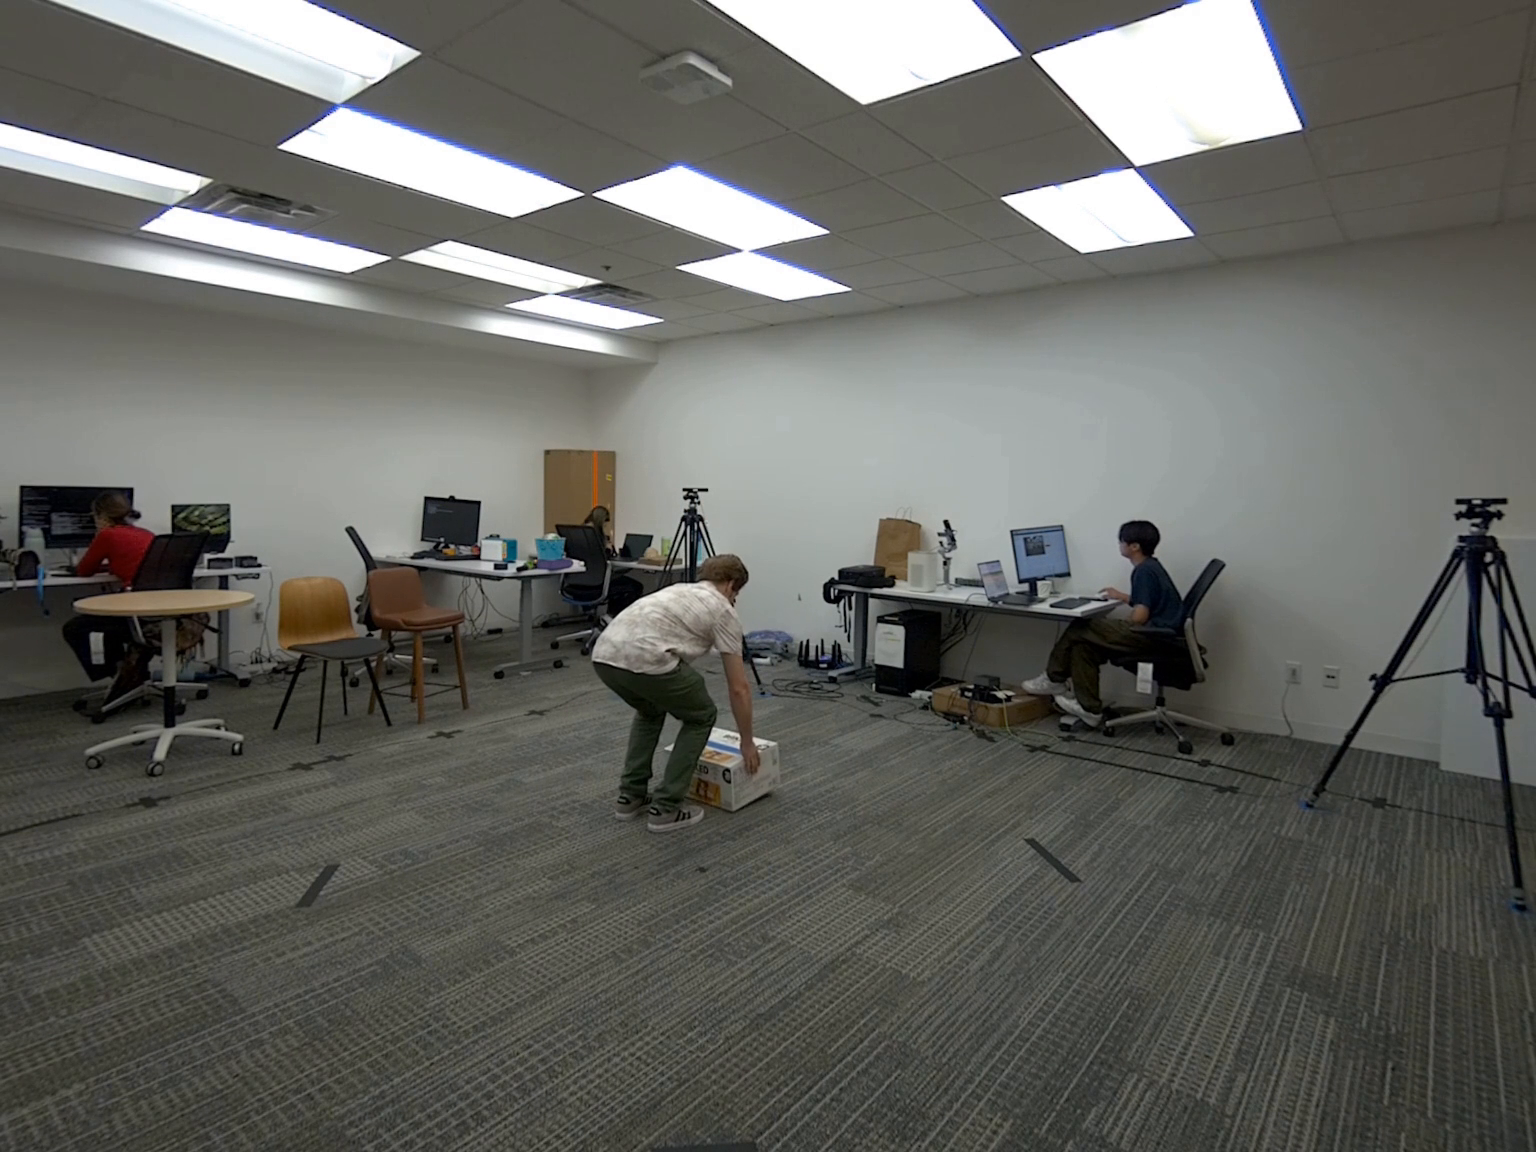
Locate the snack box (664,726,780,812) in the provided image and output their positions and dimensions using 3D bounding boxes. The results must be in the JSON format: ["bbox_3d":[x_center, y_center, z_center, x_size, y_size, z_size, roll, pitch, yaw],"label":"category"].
[{"bbox_3d":[-0.227,0.863,3.903,0.419,0.204,0.332,5,12,39],"label":"snack box"}]
